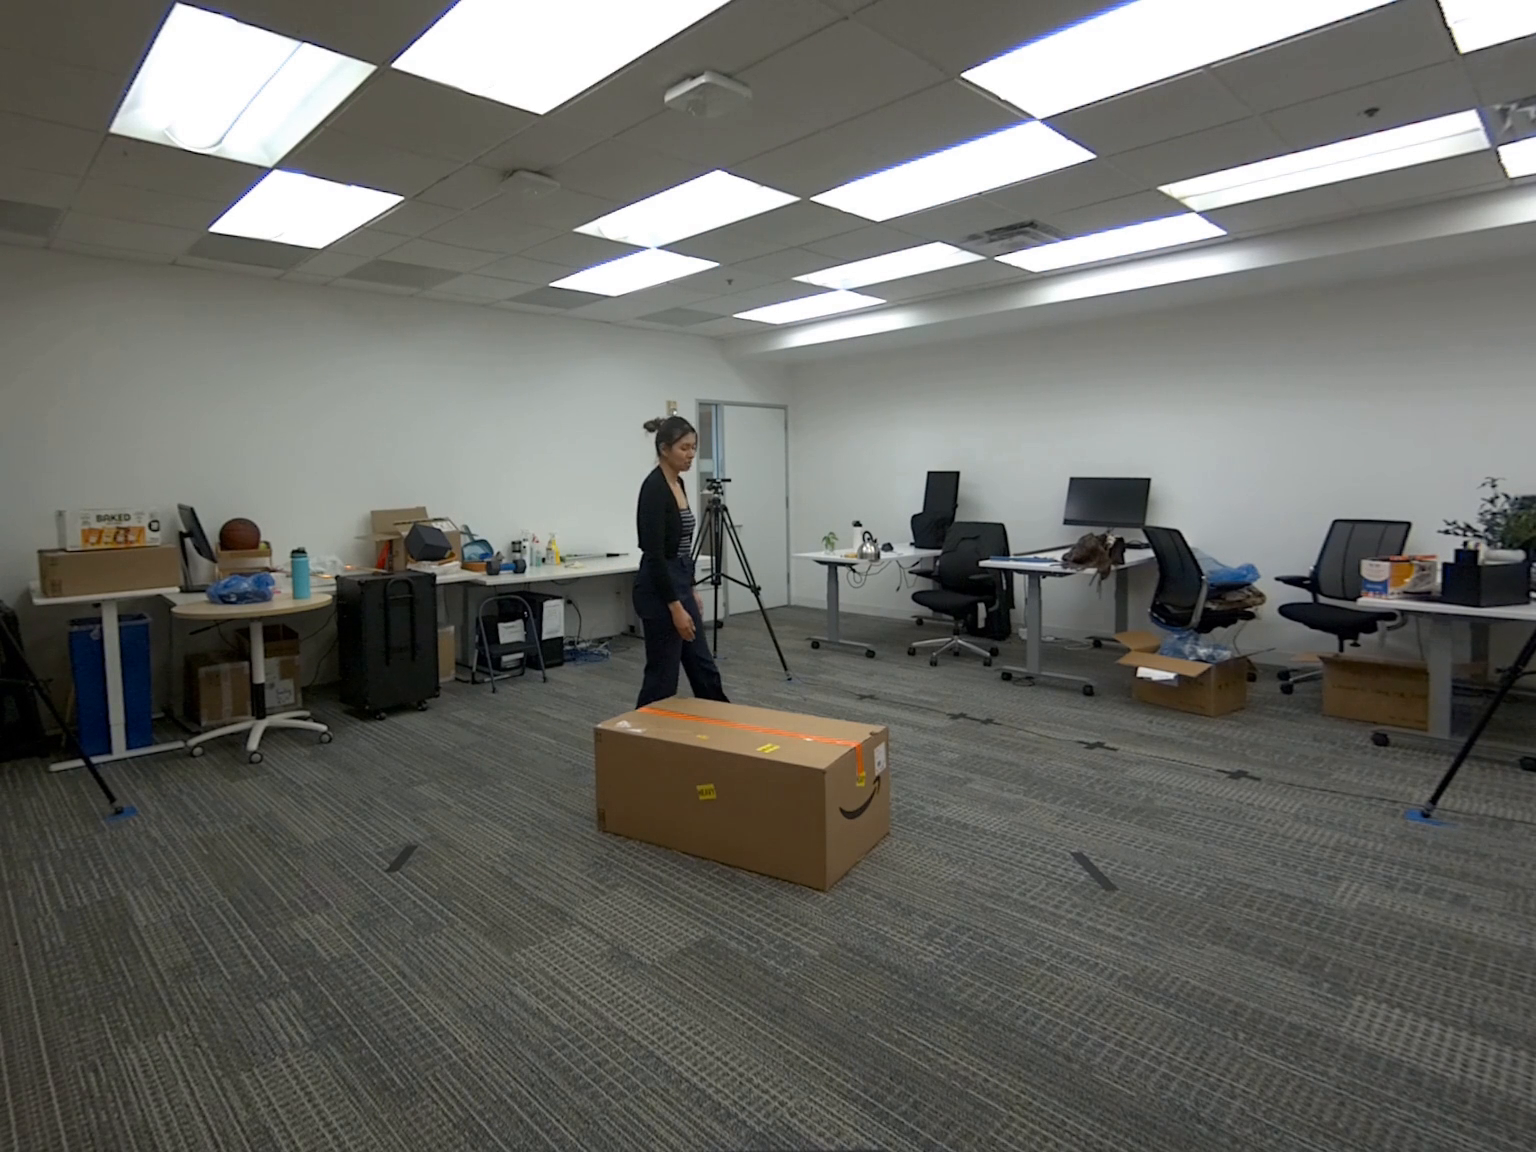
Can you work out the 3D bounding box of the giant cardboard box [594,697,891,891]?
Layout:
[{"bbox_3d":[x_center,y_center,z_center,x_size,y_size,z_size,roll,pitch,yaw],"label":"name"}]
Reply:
[{"bbox_3d":[-0.107,0.805,3.372,1.054,0.425,0.564,2,5,32],"label":"giant cardboard box"}]
